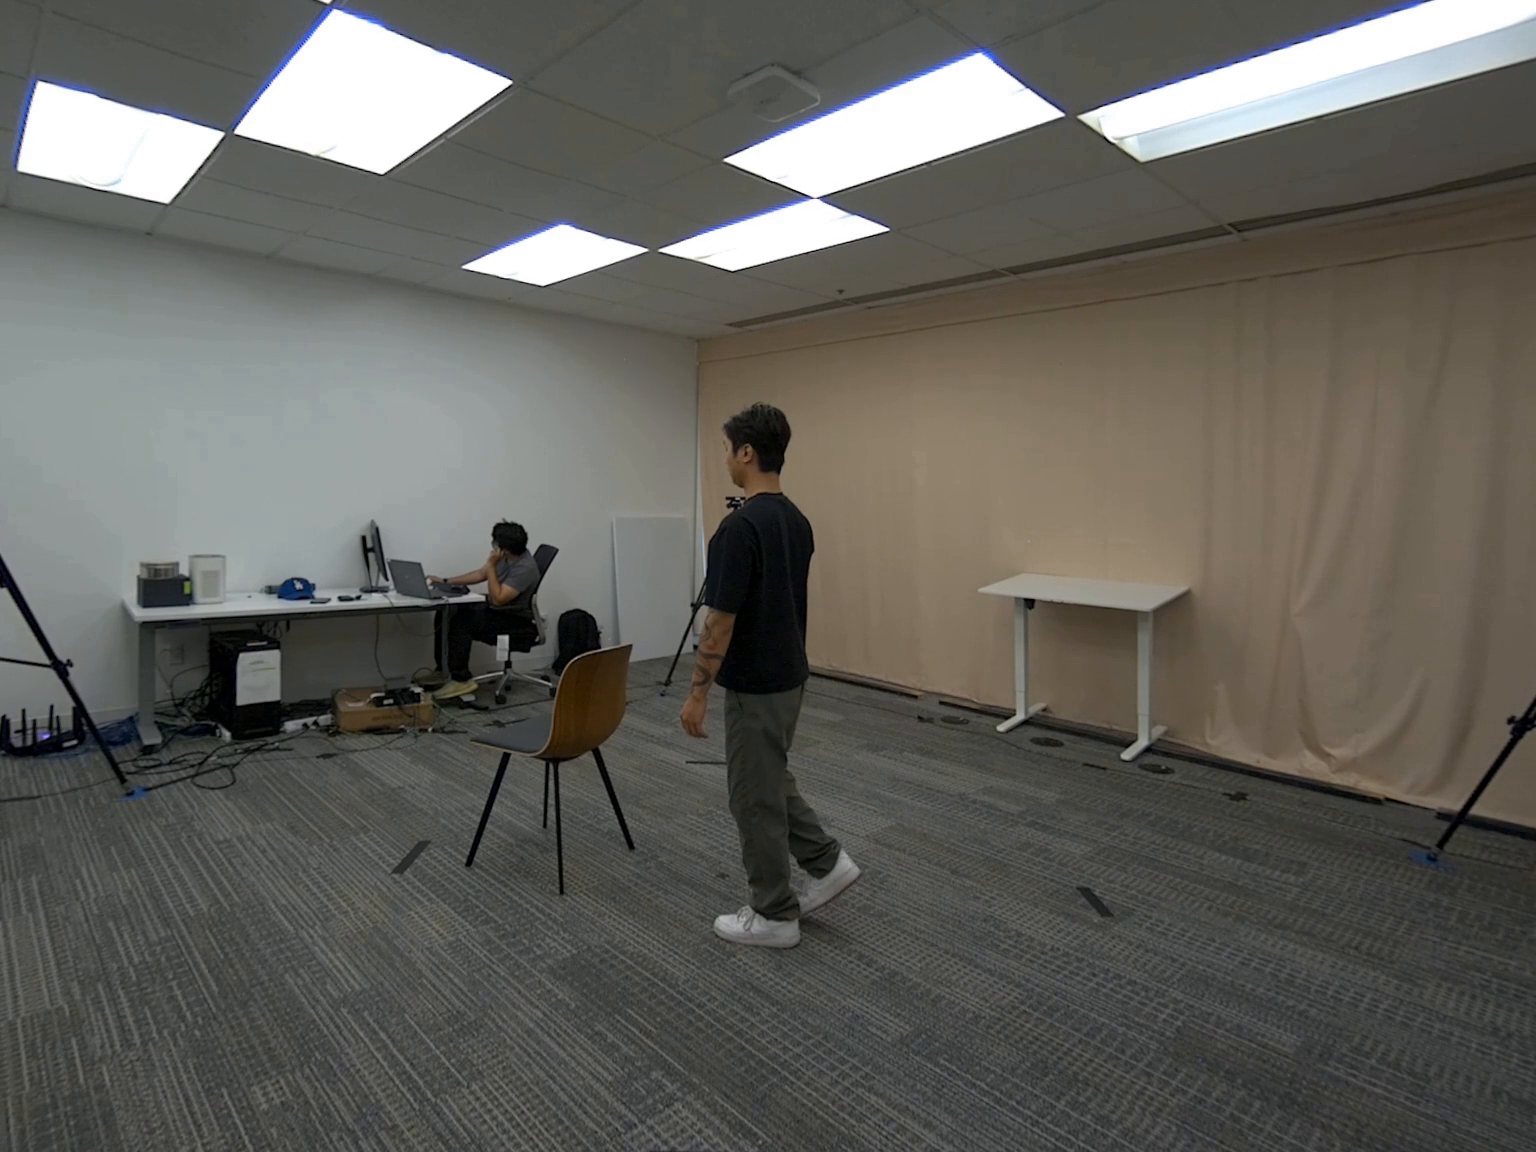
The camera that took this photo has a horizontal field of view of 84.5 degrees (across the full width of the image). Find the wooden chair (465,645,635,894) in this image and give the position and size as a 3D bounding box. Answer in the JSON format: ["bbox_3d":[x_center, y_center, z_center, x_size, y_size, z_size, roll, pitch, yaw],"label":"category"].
[{"bbox_3d":[-0.826,0.653,3.195,0.534,0.874,0.469,8,6,26],"label":"wooden chair"}]
